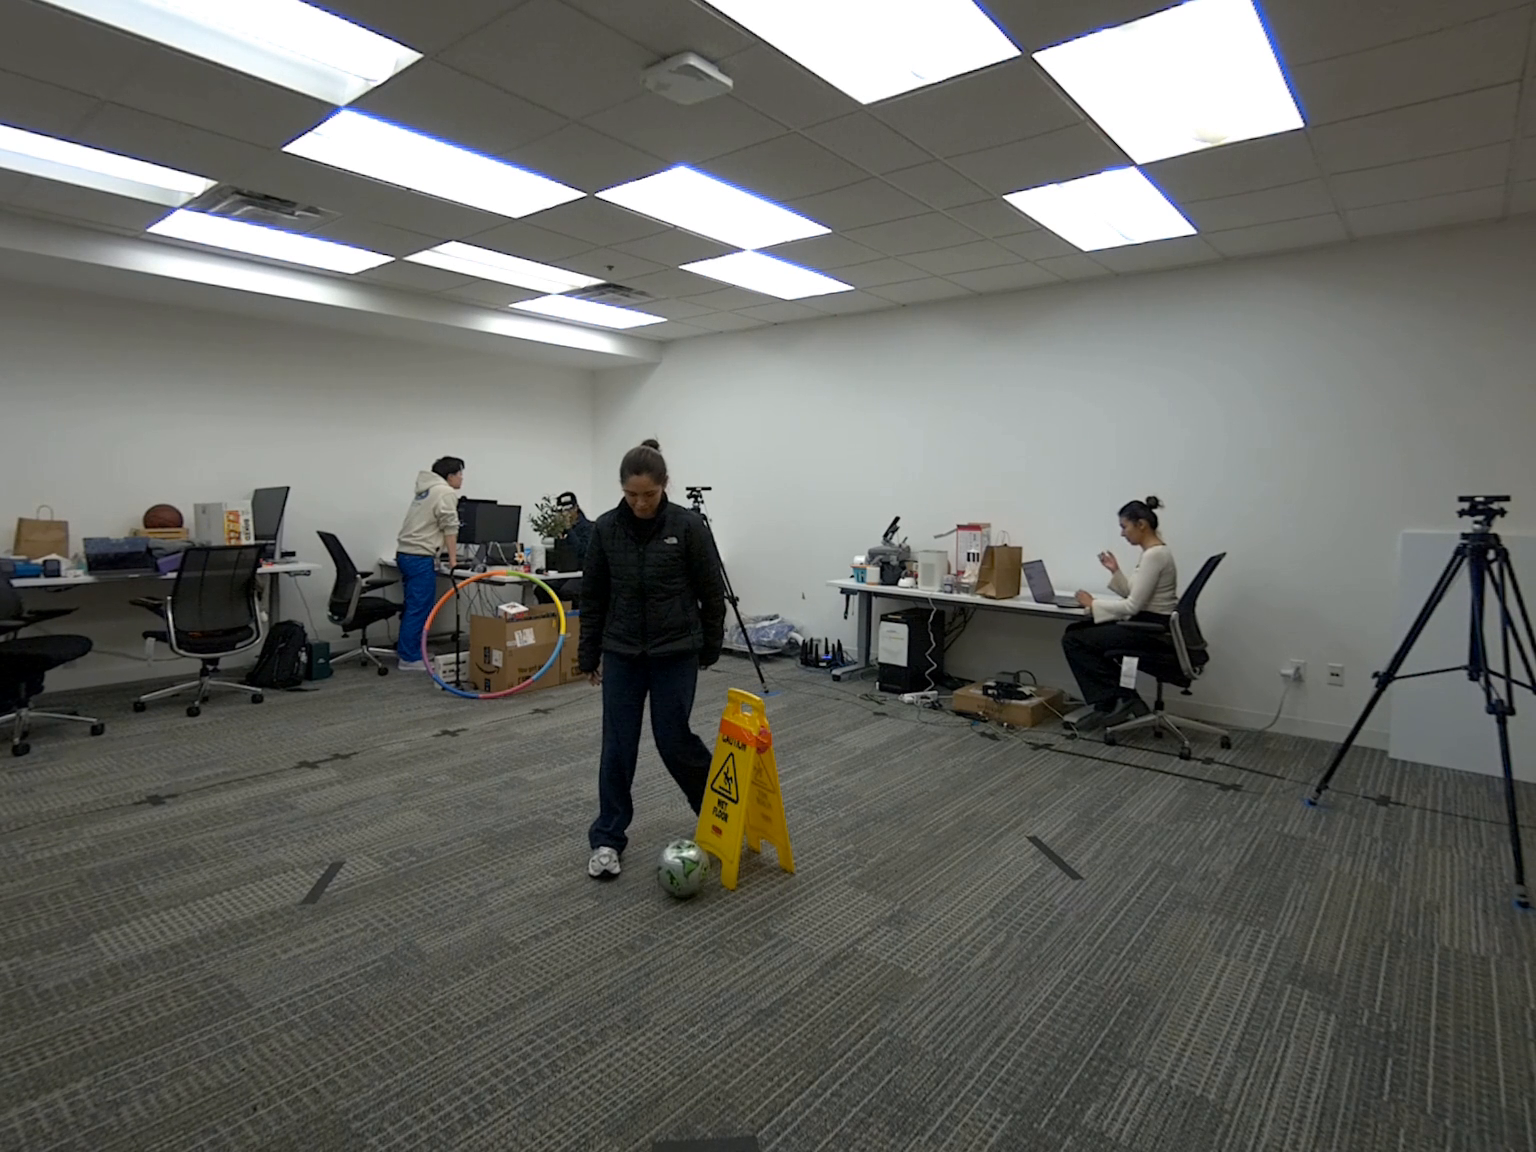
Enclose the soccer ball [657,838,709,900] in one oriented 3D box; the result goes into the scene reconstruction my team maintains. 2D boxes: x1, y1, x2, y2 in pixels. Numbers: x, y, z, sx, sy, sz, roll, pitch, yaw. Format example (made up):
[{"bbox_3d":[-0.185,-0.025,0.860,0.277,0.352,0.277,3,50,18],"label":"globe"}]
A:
[{"bbox_3d":[-0.302,0.992,2.900,0.187,0.187,0.188,1,4,-2],"label":"soccer ball"}]
